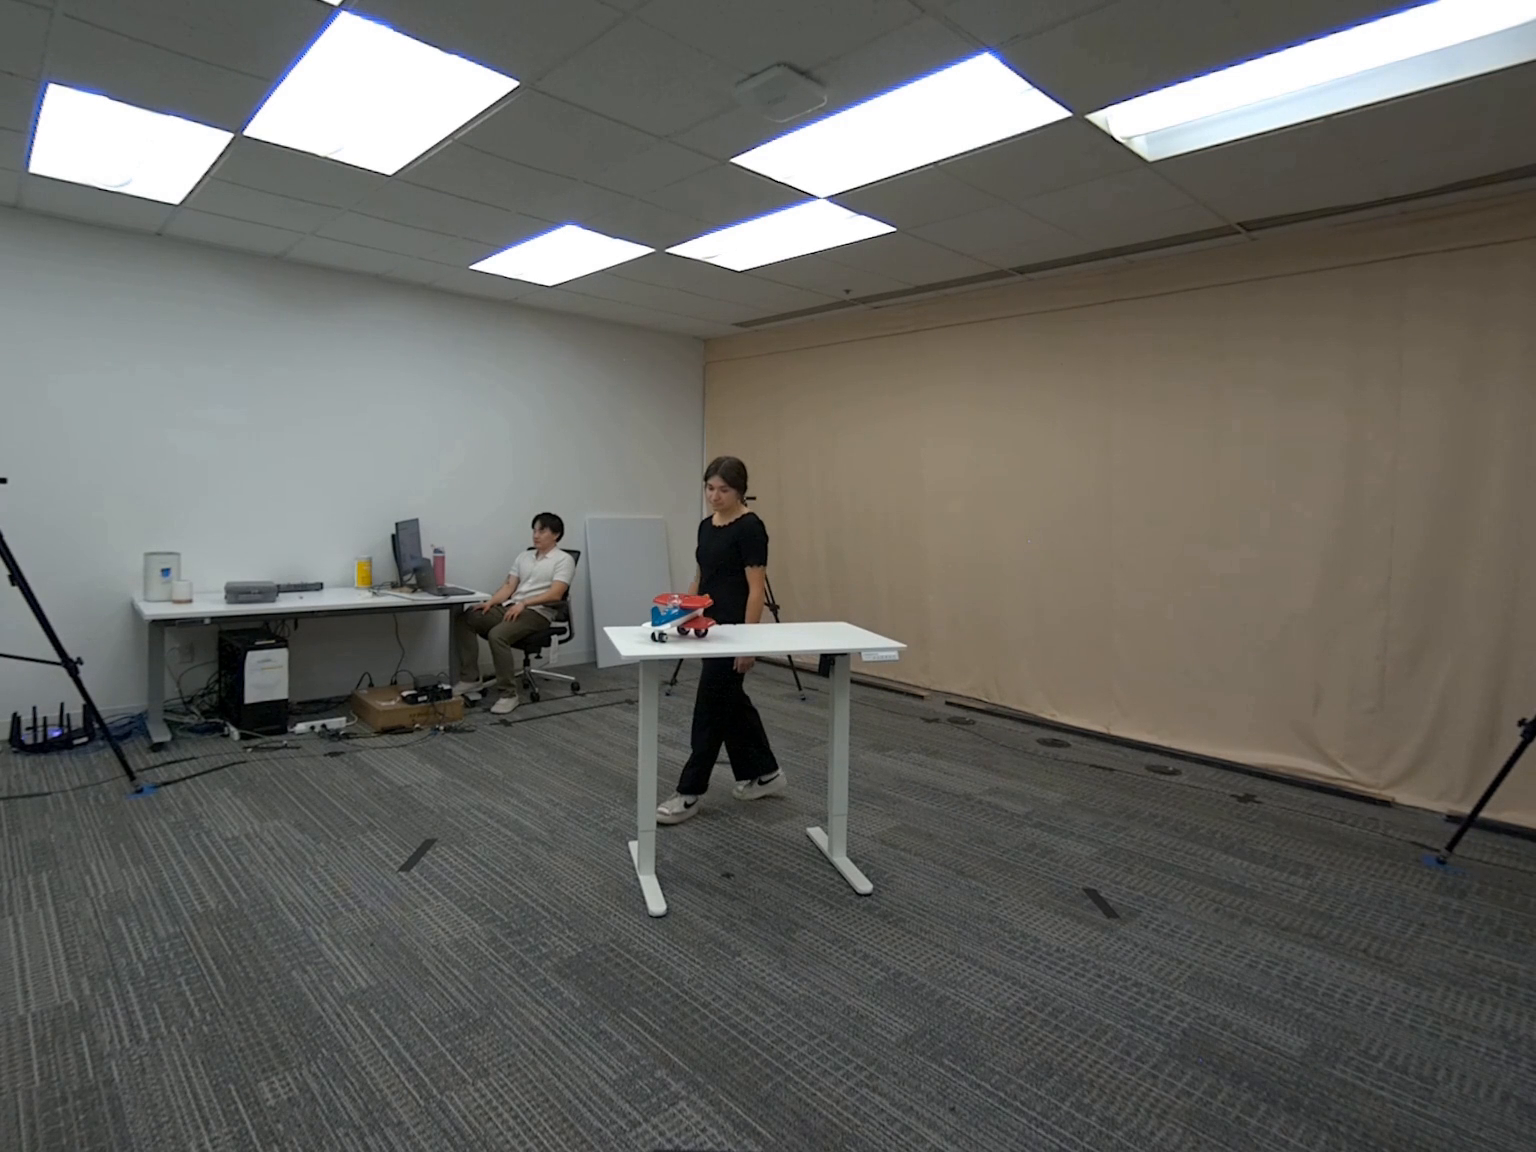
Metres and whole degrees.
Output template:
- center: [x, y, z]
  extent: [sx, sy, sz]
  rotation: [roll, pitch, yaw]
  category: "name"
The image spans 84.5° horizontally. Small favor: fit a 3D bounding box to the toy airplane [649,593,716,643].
- center: [-0.321, 0.152, 3.019]
  extent: [0.253, 0.156, 0.258]
  rotation: [2, 4, 9]
  category: "toy airplane"
